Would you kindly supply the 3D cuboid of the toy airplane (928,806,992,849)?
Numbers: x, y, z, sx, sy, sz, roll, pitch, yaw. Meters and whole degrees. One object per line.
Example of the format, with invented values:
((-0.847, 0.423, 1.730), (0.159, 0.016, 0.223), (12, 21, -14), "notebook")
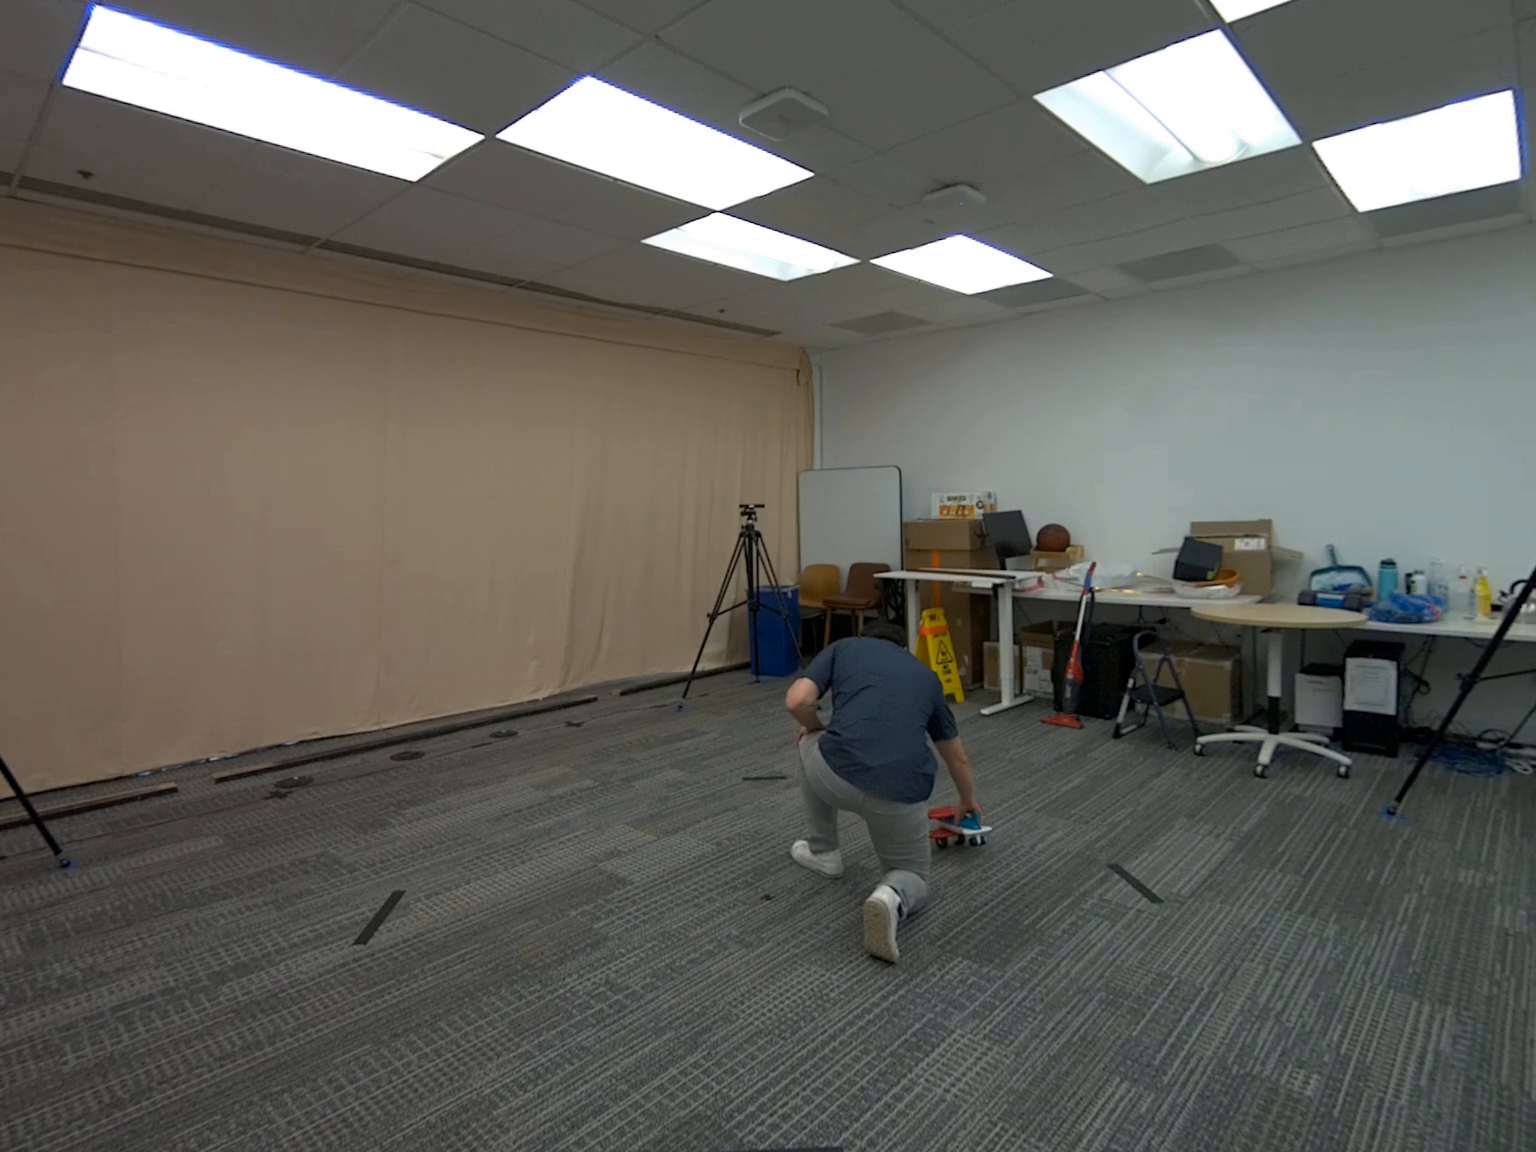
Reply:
((0.784, 1.000, 3.351), (0.265, 0.158, 0.242), (-21, -20, 37), "toy airplane")
